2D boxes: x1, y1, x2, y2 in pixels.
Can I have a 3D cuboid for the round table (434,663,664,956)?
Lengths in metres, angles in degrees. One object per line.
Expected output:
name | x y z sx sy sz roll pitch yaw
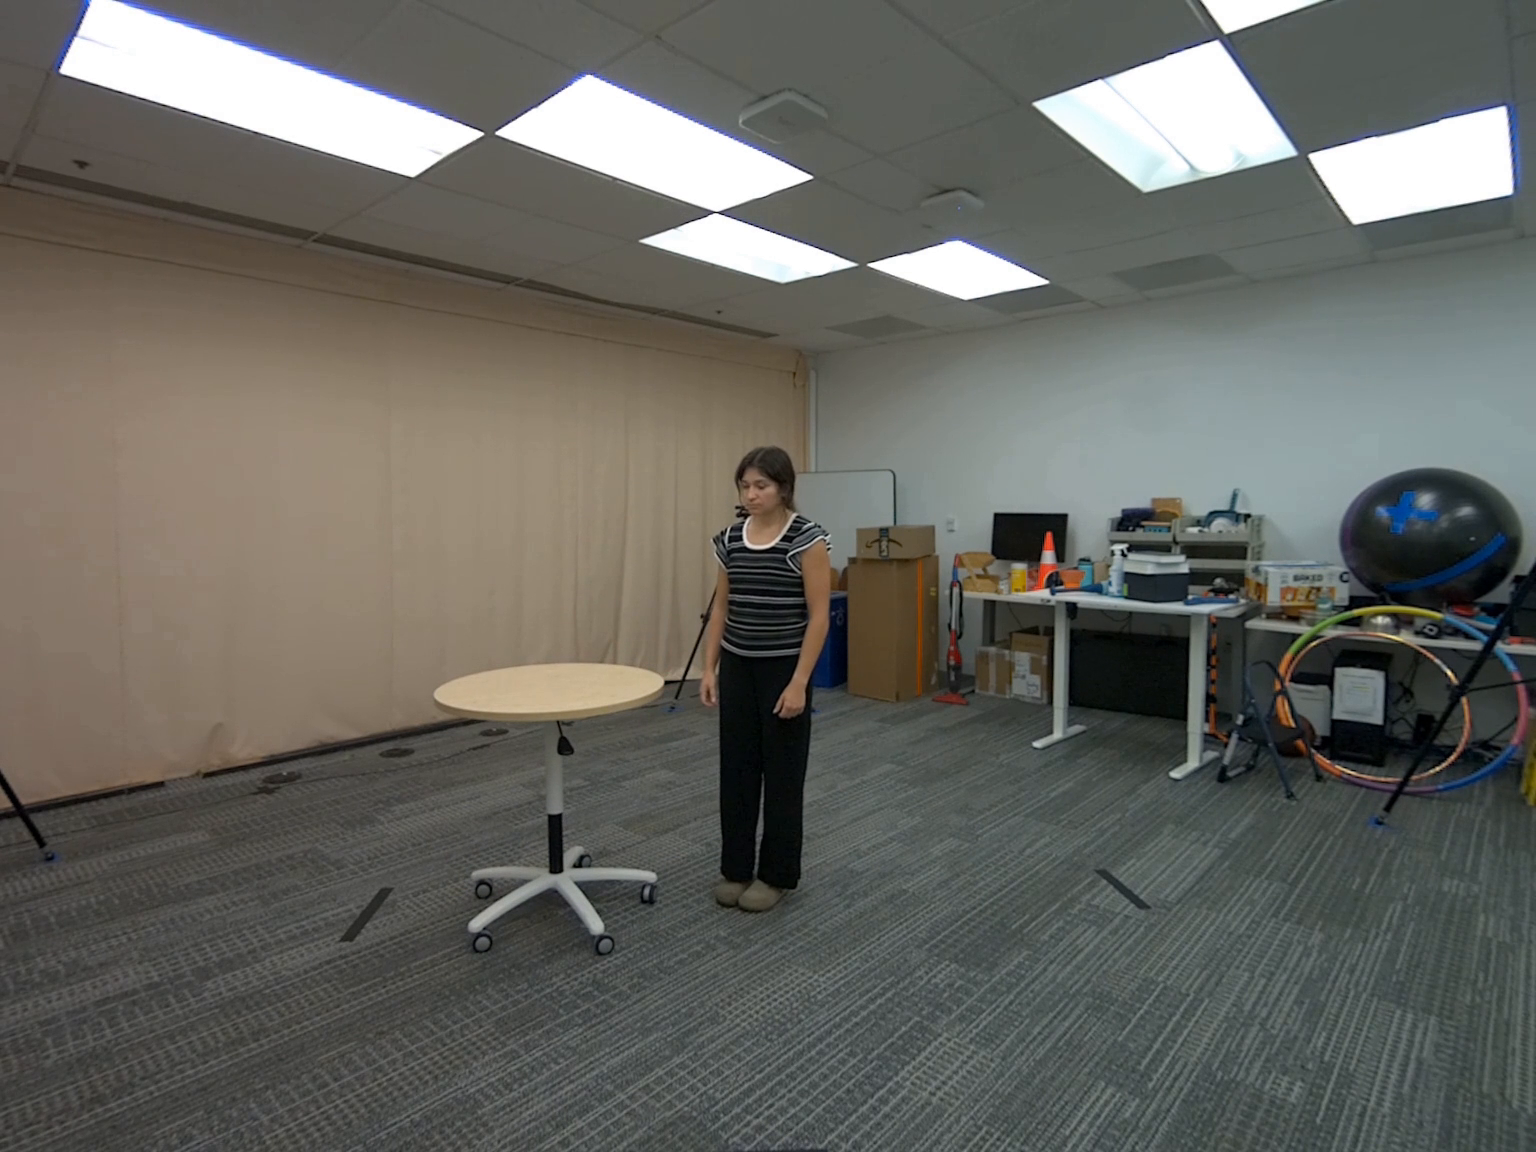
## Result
round table | -0.731 0.770 2.888 0.763 0.792 0.766 -1 4 -2
